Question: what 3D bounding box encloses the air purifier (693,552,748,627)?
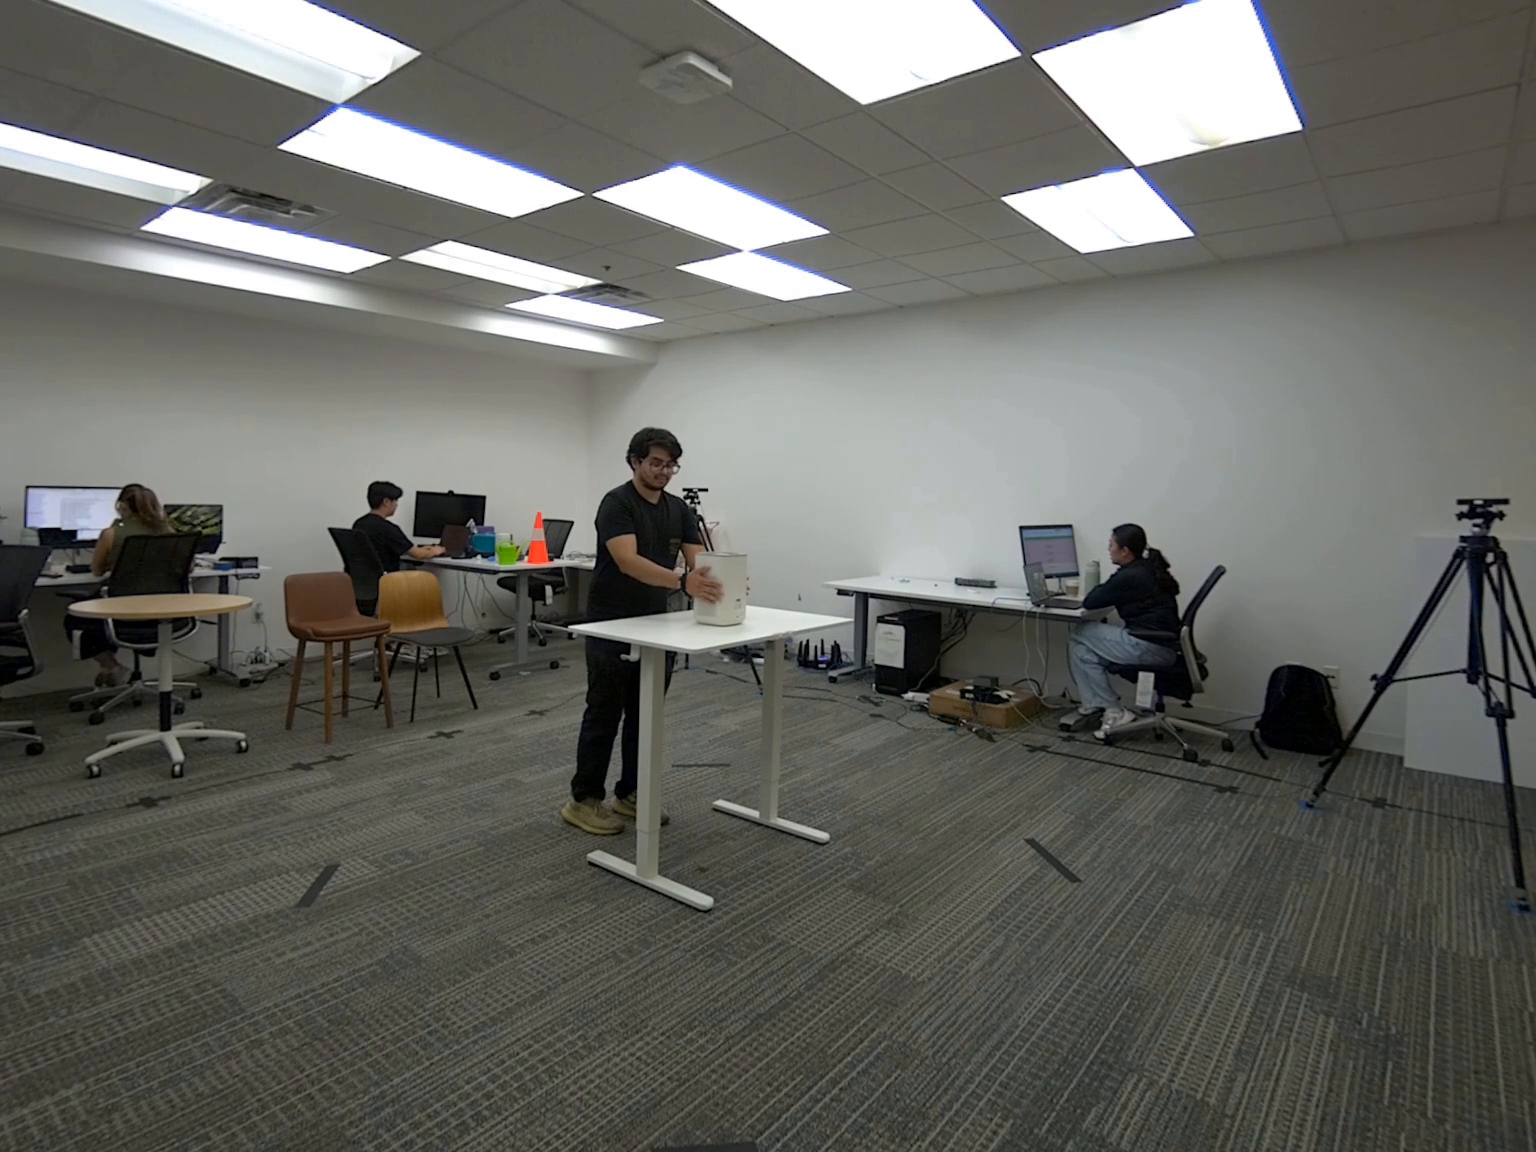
[{"bbox_3d":[-0.192,0.049,3.222,0.177,0.265,0.166,2,2,35],"label":"air purifier"}]
